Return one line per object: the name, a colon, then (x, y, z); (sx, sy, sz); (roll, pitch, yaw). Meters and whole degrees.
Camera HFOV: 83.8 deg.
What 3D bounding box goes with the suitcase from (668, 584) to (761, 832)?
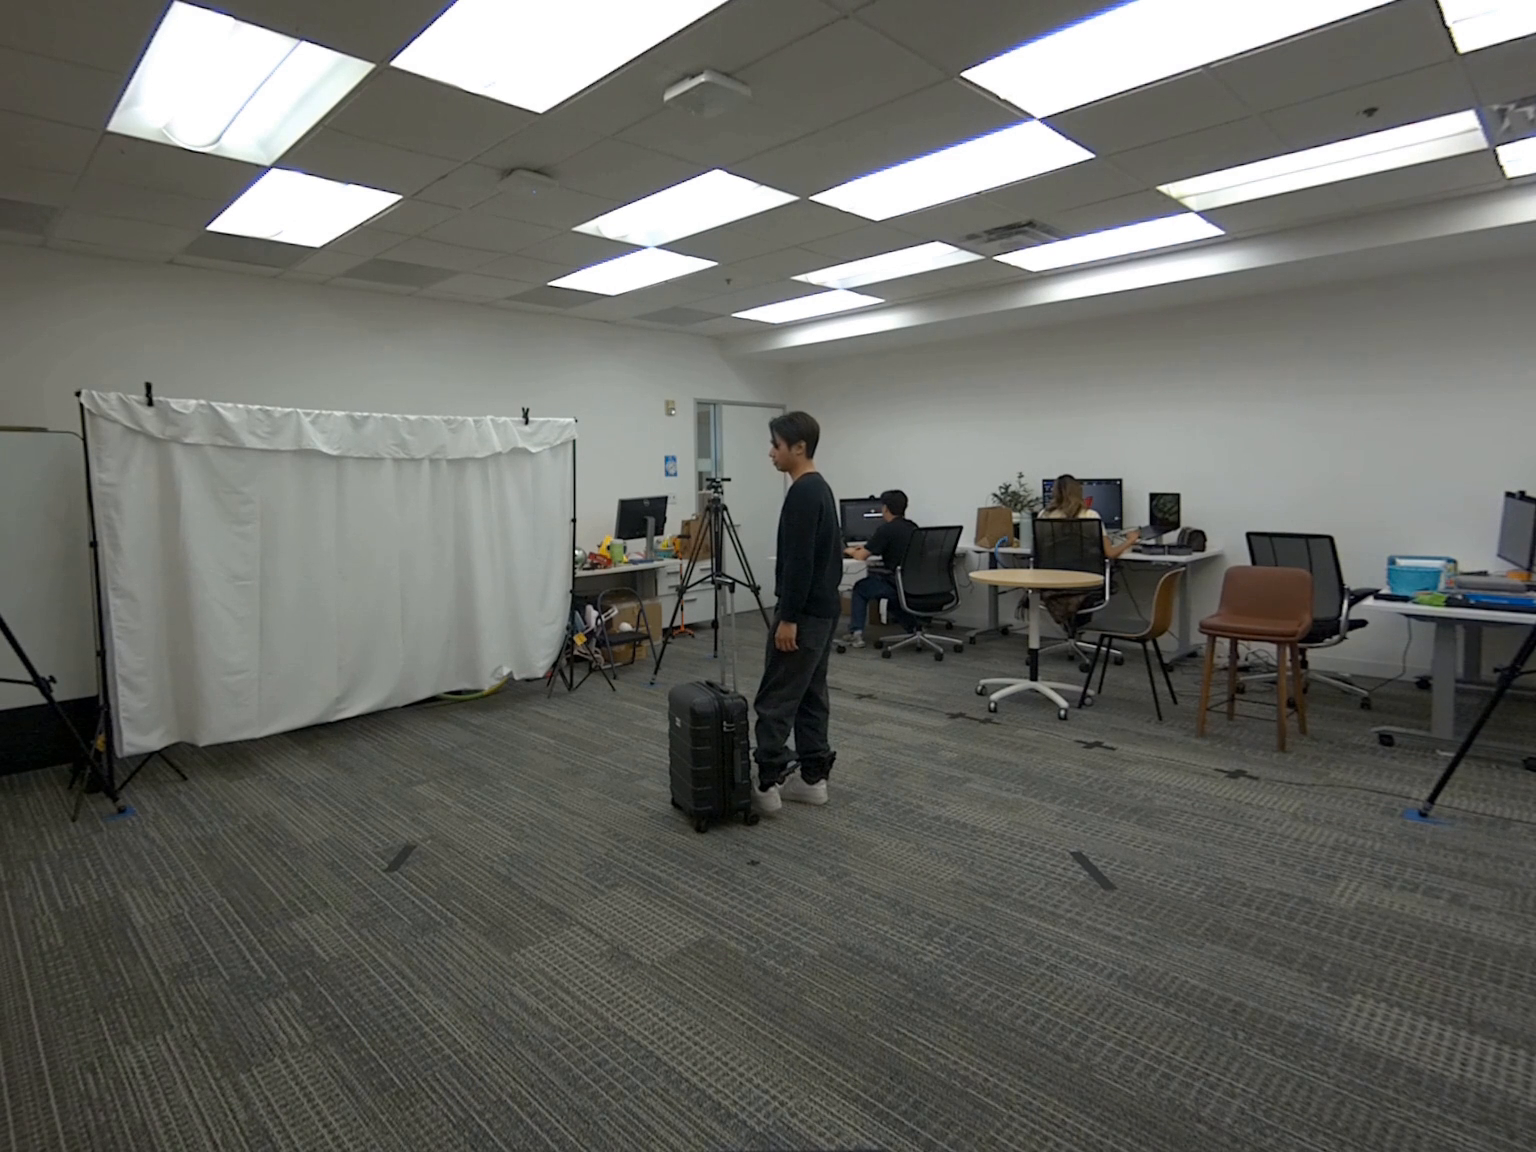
suitcase: (-0.259, 0.521, 3.516); (0.252, 0.974, 0.393); (-4, 5, -23)
